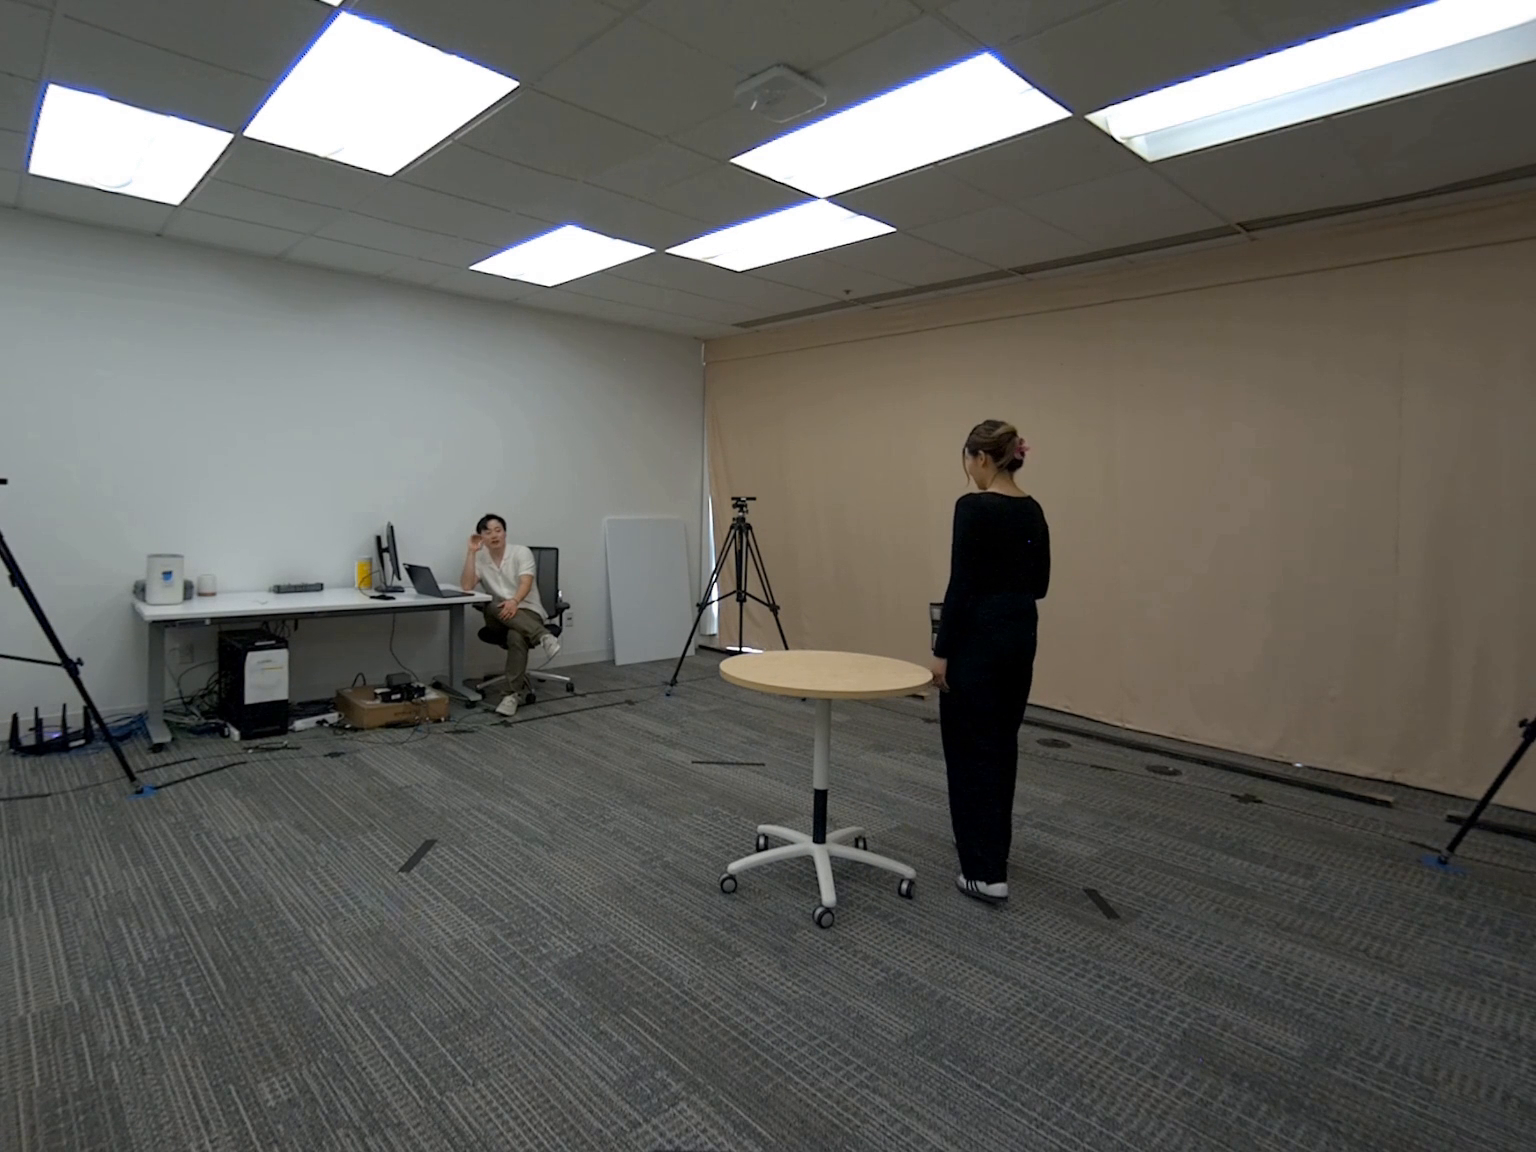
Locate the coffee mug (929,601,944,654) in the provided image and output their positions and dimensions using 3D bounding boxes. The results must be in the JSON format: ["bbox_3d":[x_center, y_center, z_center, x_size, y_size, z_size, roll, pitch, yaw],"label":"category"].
[{"bbox_3d":[0.714,0.210,3.524,0.086,0.202,0.125,-1,7,-30],"label":"coffee mug"}]
